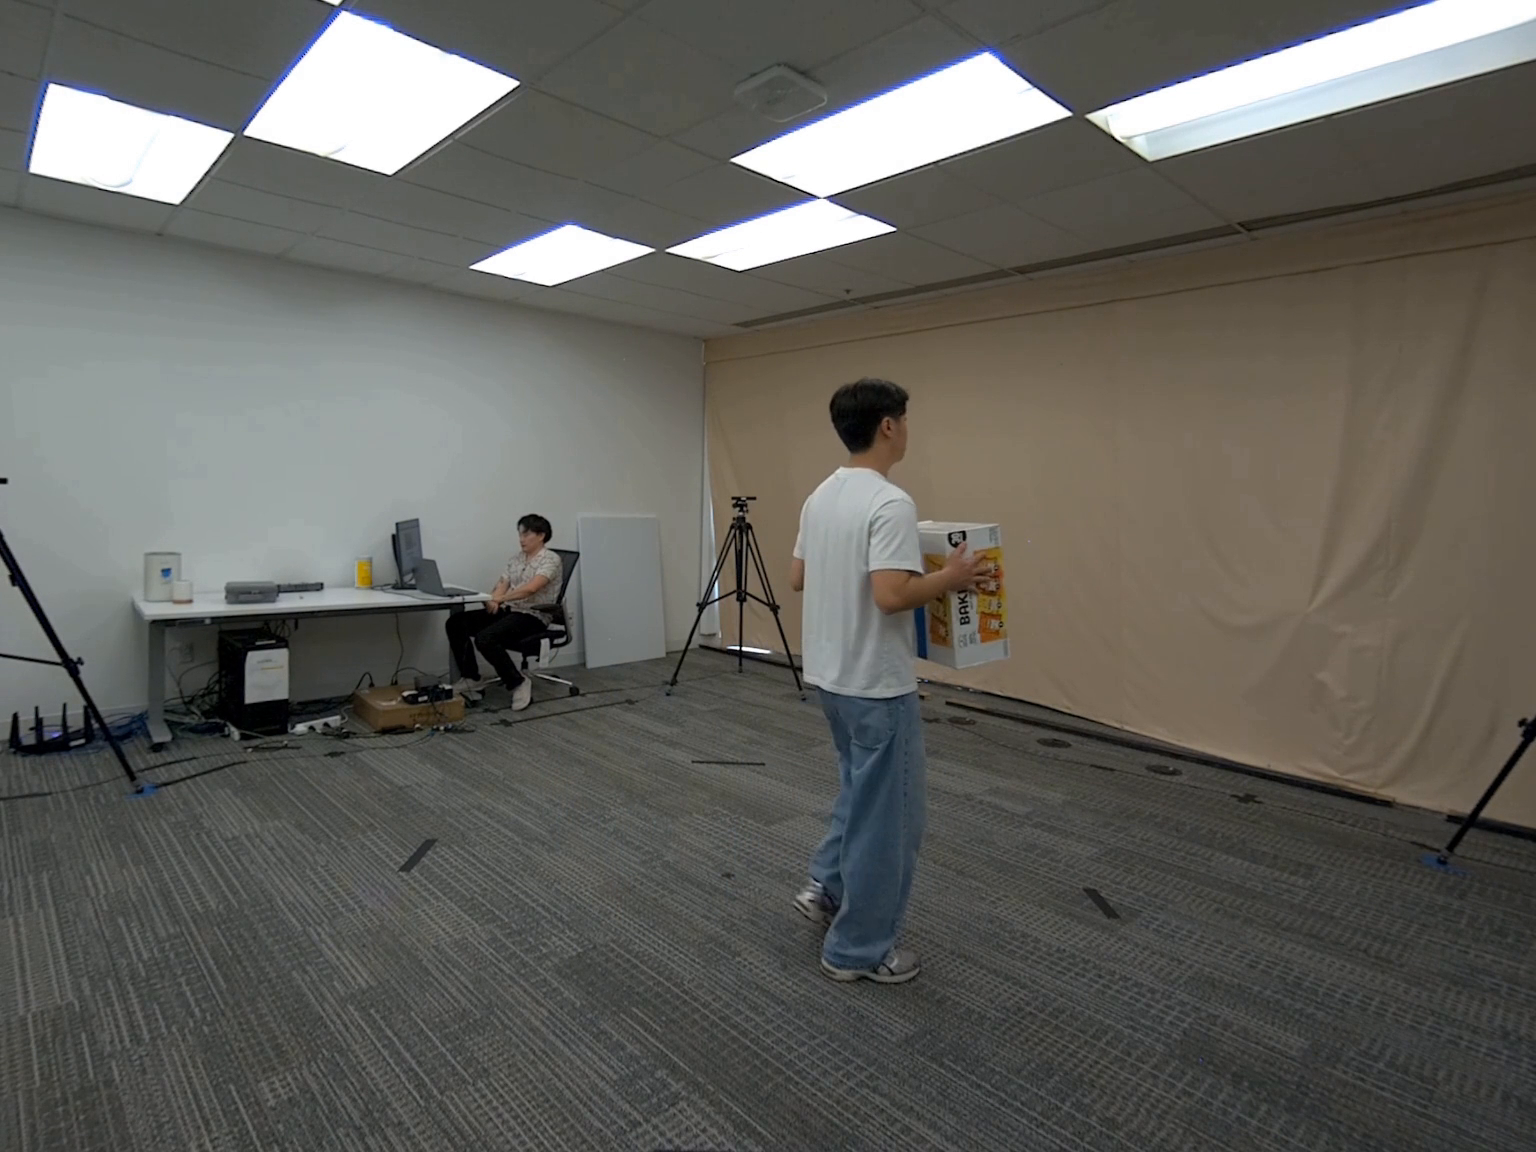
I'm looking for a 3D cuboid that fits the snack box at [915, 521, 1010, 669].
[{"bbox_3d":[0.538,0.047,2.624,0.203,0.403,0.347,-9,7,-23],"label":"snack box"}]
